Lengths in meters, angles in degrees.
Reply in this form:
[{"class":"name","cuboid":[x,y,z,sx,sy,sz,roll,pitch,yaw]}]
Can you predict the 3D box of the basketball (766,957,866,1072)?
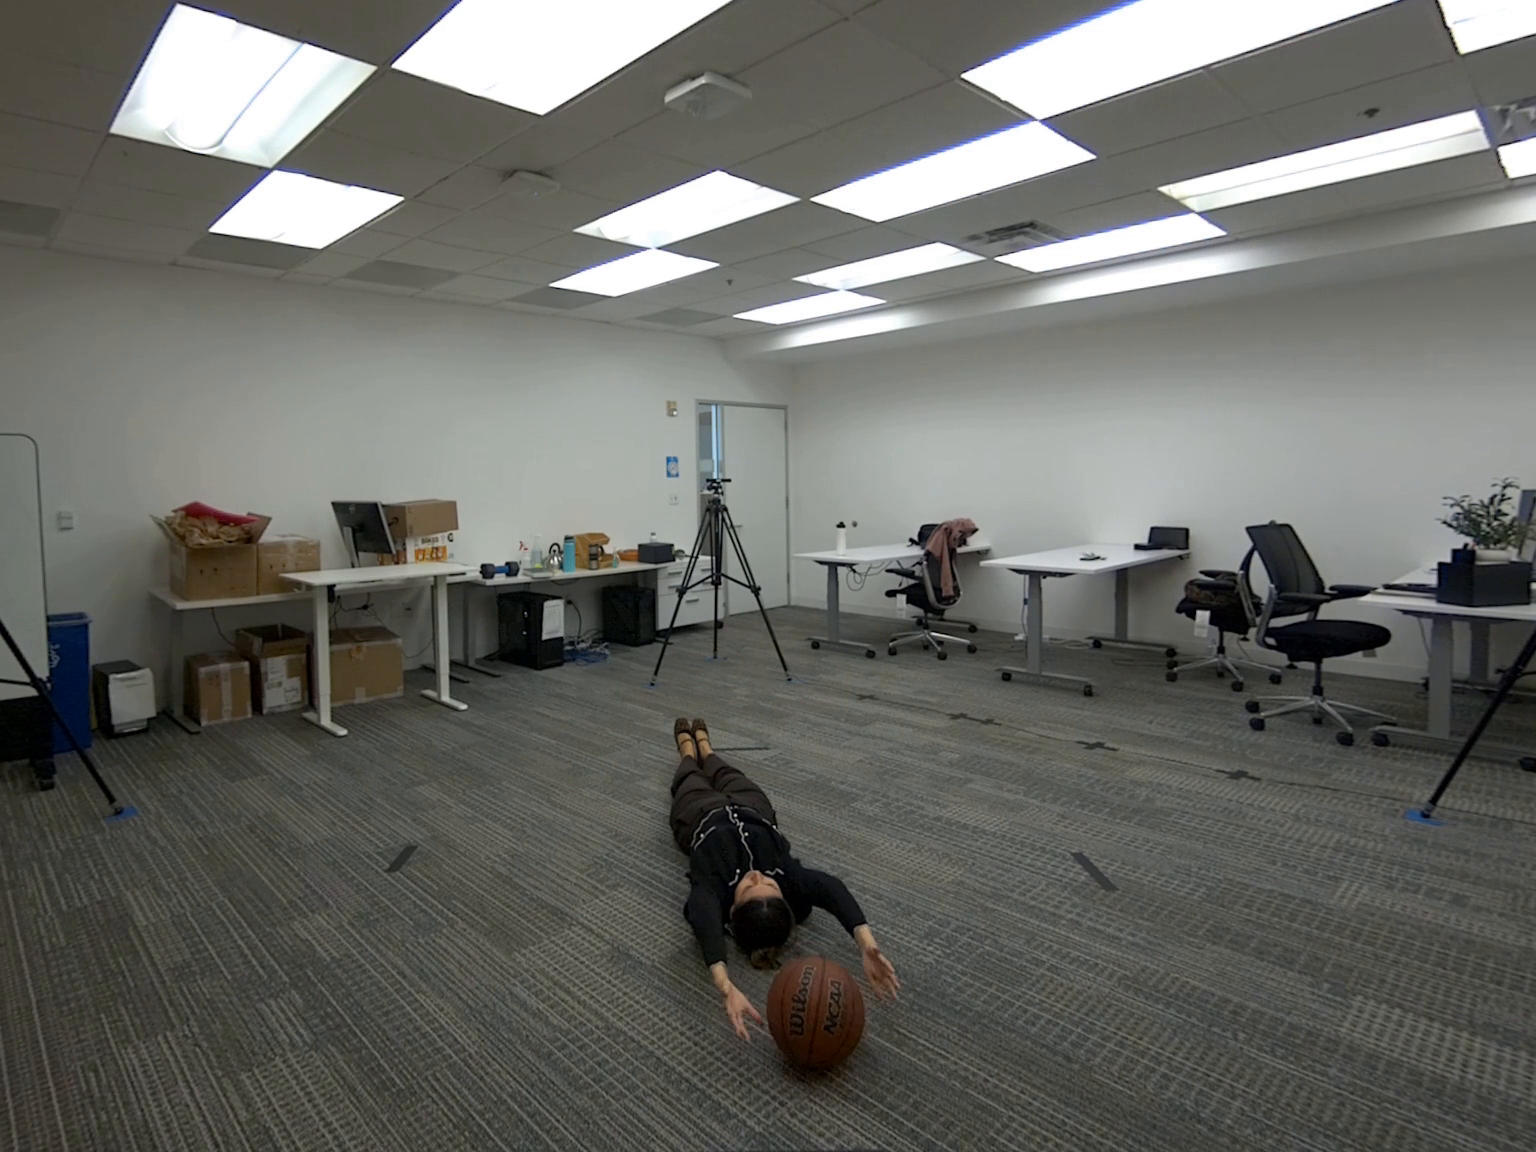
[{"class":"basketball","cuboid":[0.123,1.047,2.053,0.236,0.235,0.237,-1,5,-2]}]
